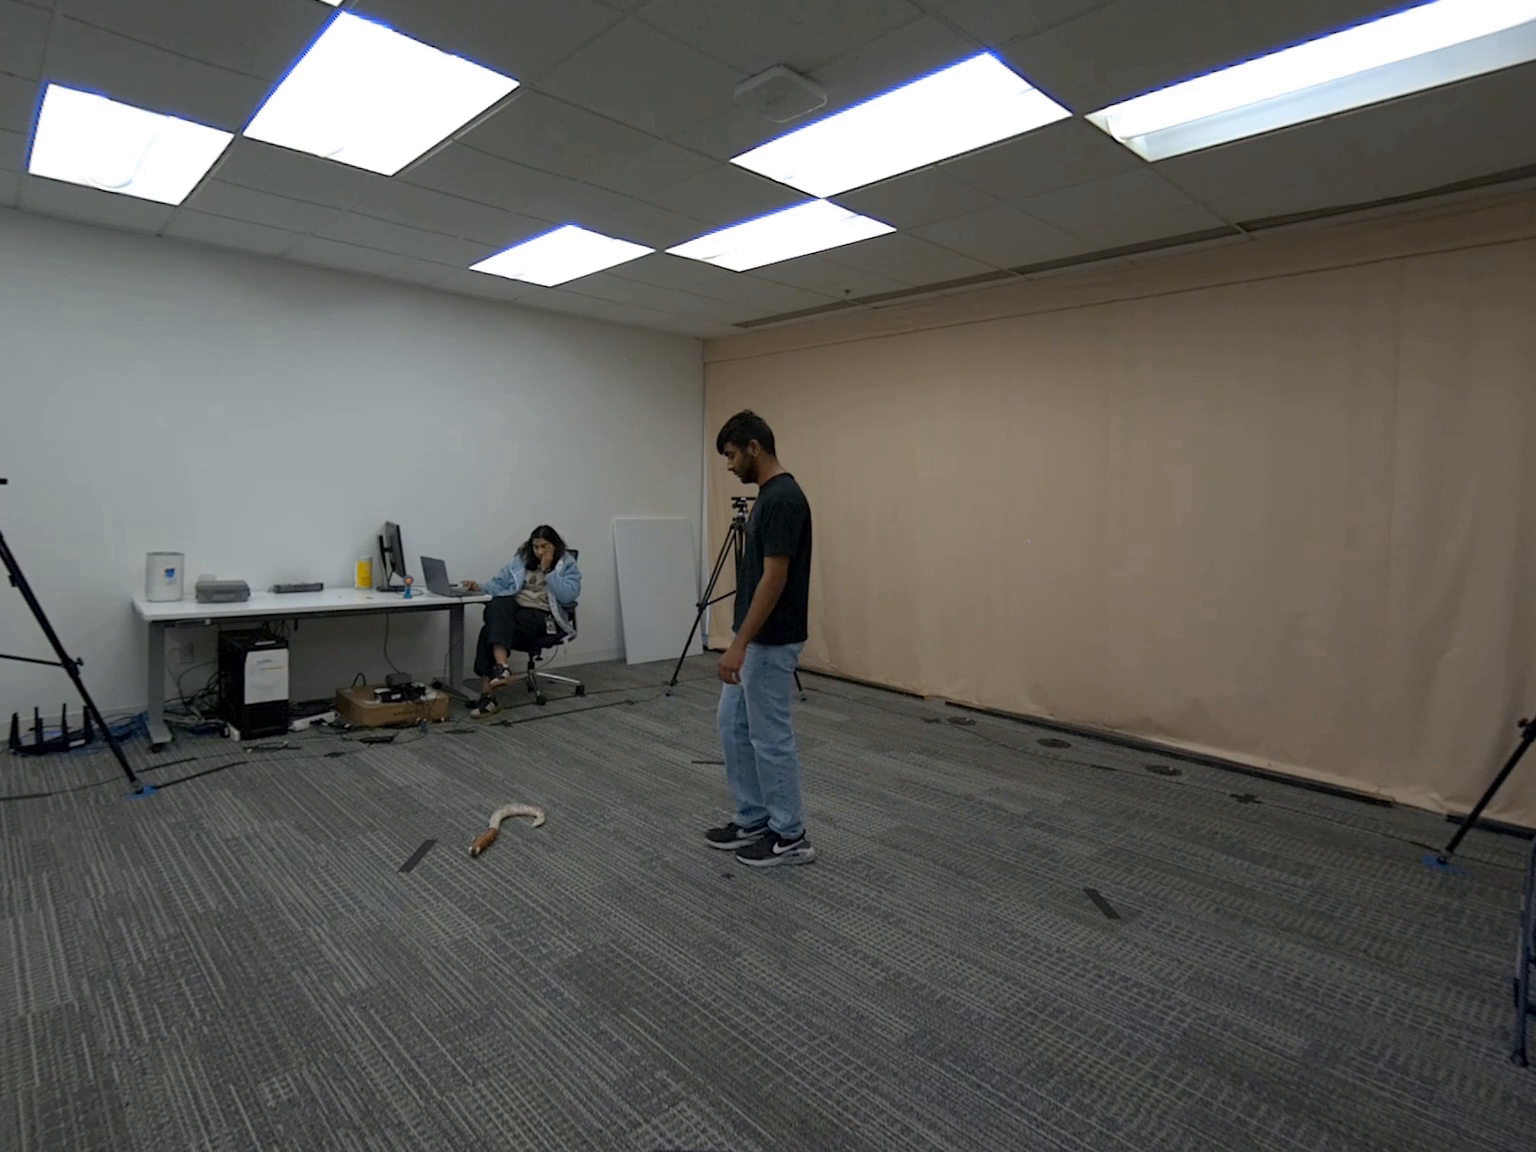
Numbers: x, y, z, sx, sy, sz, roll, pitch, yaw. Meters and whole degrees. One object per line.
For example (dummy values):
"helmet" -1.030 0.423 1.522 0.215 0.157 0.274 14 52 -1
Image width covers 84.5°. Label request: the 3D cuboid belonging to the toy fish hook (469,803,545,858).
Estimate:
"toy fish hook" -1.061 1.026 3.441 0.225 0.048 0.507 1 5 2
